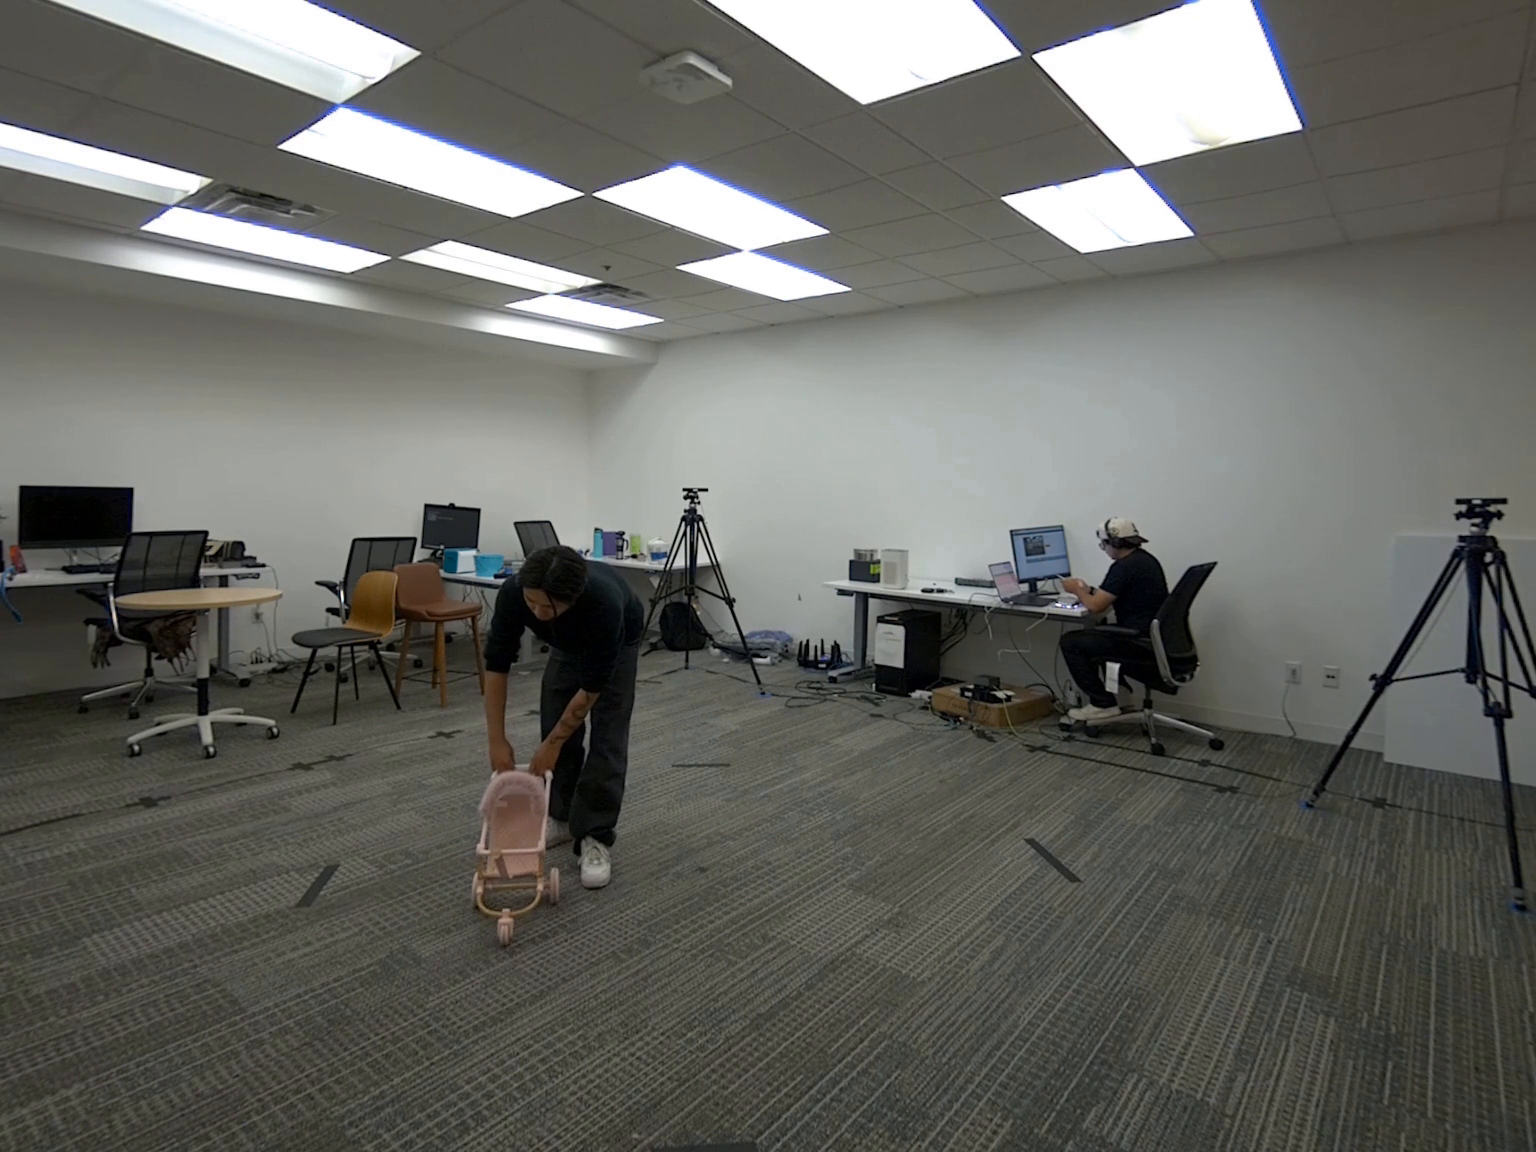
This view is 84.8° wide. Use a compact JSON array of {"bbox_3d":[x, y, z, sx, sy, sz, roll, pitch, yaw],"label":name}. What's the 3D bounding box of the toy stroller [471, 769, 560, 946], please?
[{"bbox_3d":[-0.841,0.876,2.759,0.280,0.542,0.338,-1,-13,-4],"label":"toy stroller"}]
